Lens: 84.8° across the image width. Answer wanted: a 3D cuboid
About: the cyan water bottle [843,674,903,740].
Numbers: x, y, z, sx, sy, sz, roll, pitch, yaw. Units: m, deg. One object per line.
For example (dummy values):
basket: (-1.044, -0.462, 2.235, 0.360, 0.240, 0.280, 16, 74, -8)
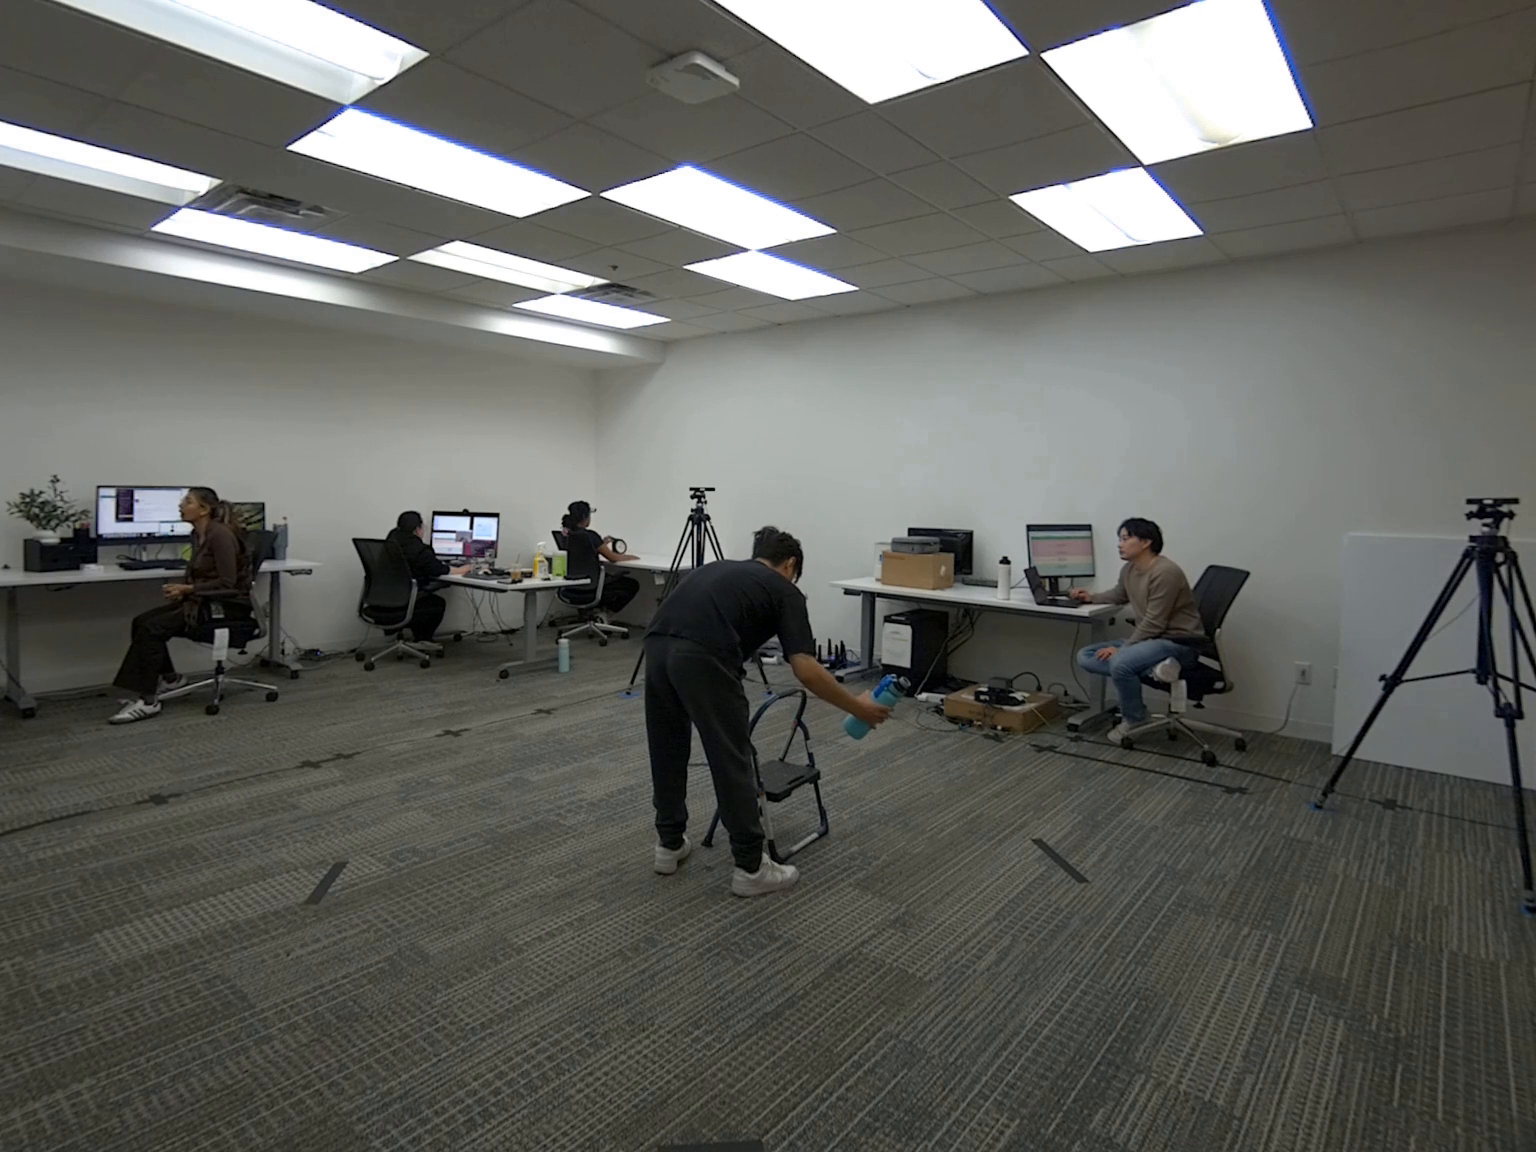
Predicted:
cyan water bottle: (0.371, 0.470, 3.039, 0.090, 0.283, 0.094, 33, 22, -17)
